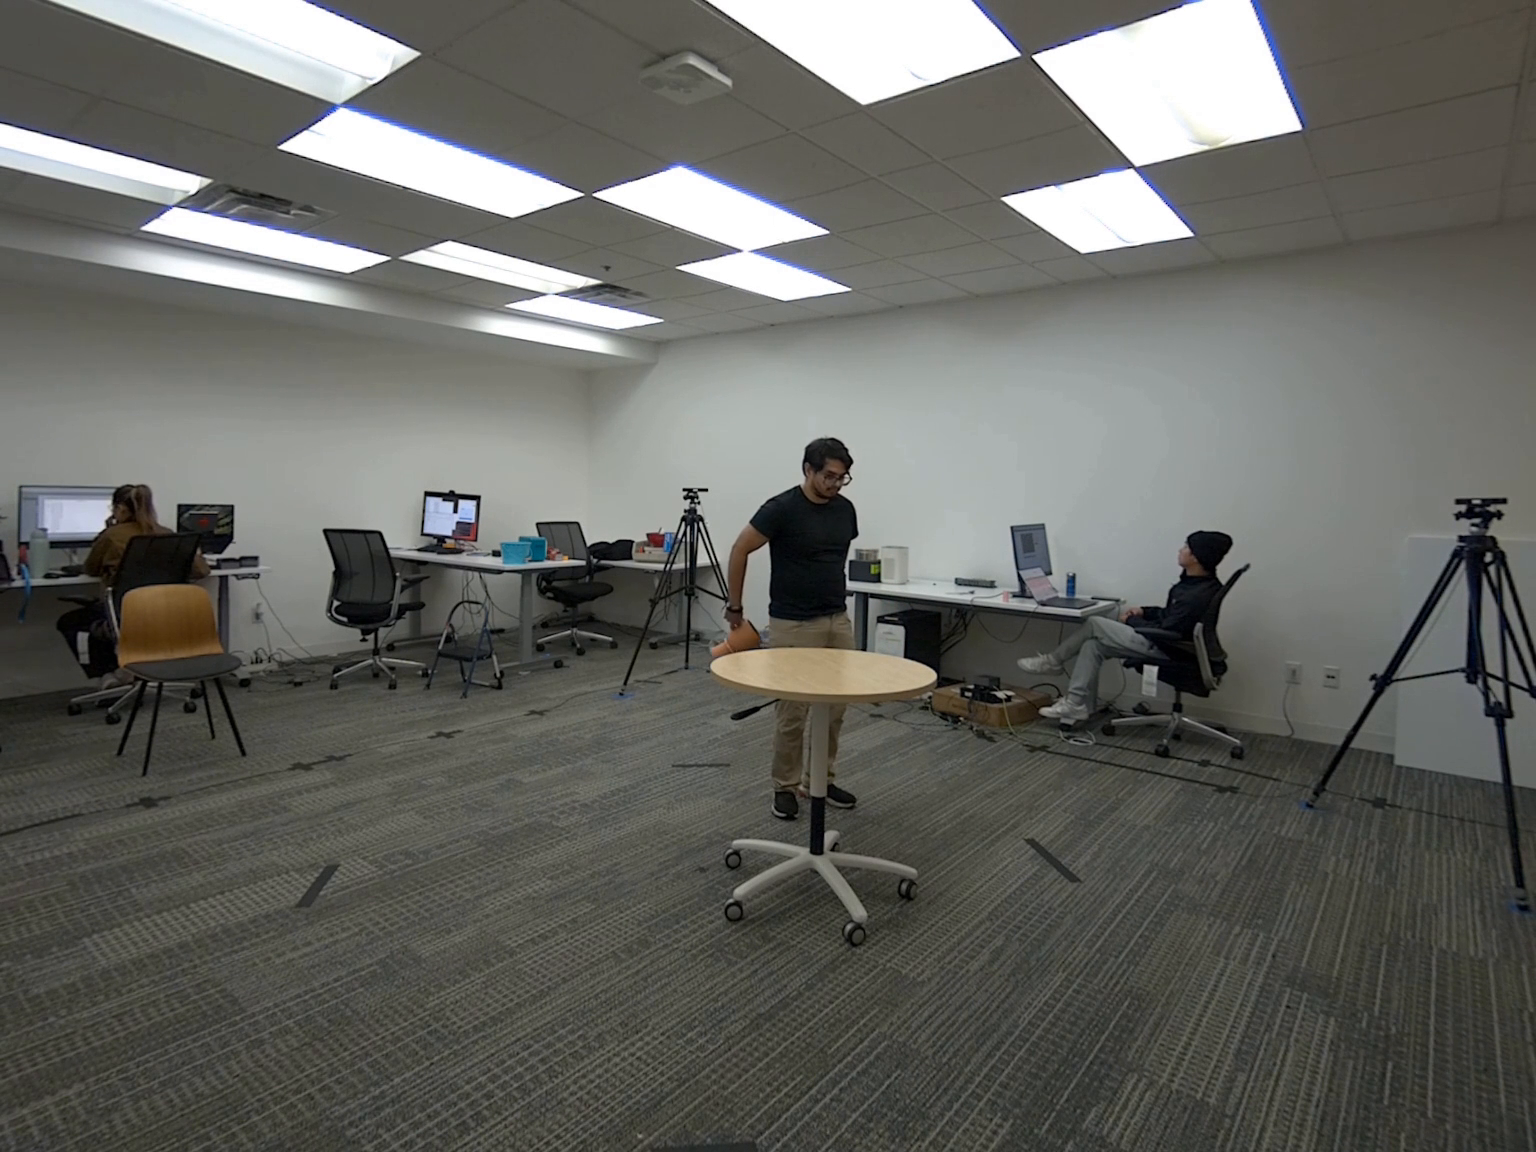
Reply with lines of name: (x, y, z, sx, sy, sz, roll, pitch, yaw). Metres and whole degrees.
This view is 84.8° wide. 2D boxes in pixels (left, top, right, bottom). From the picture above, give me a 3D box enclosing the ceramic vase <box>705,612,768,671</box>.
ceramic vase: (-0.145, 0.298, 3.874, 0.220, 0.160, 0.133, -37, -5, 4)
